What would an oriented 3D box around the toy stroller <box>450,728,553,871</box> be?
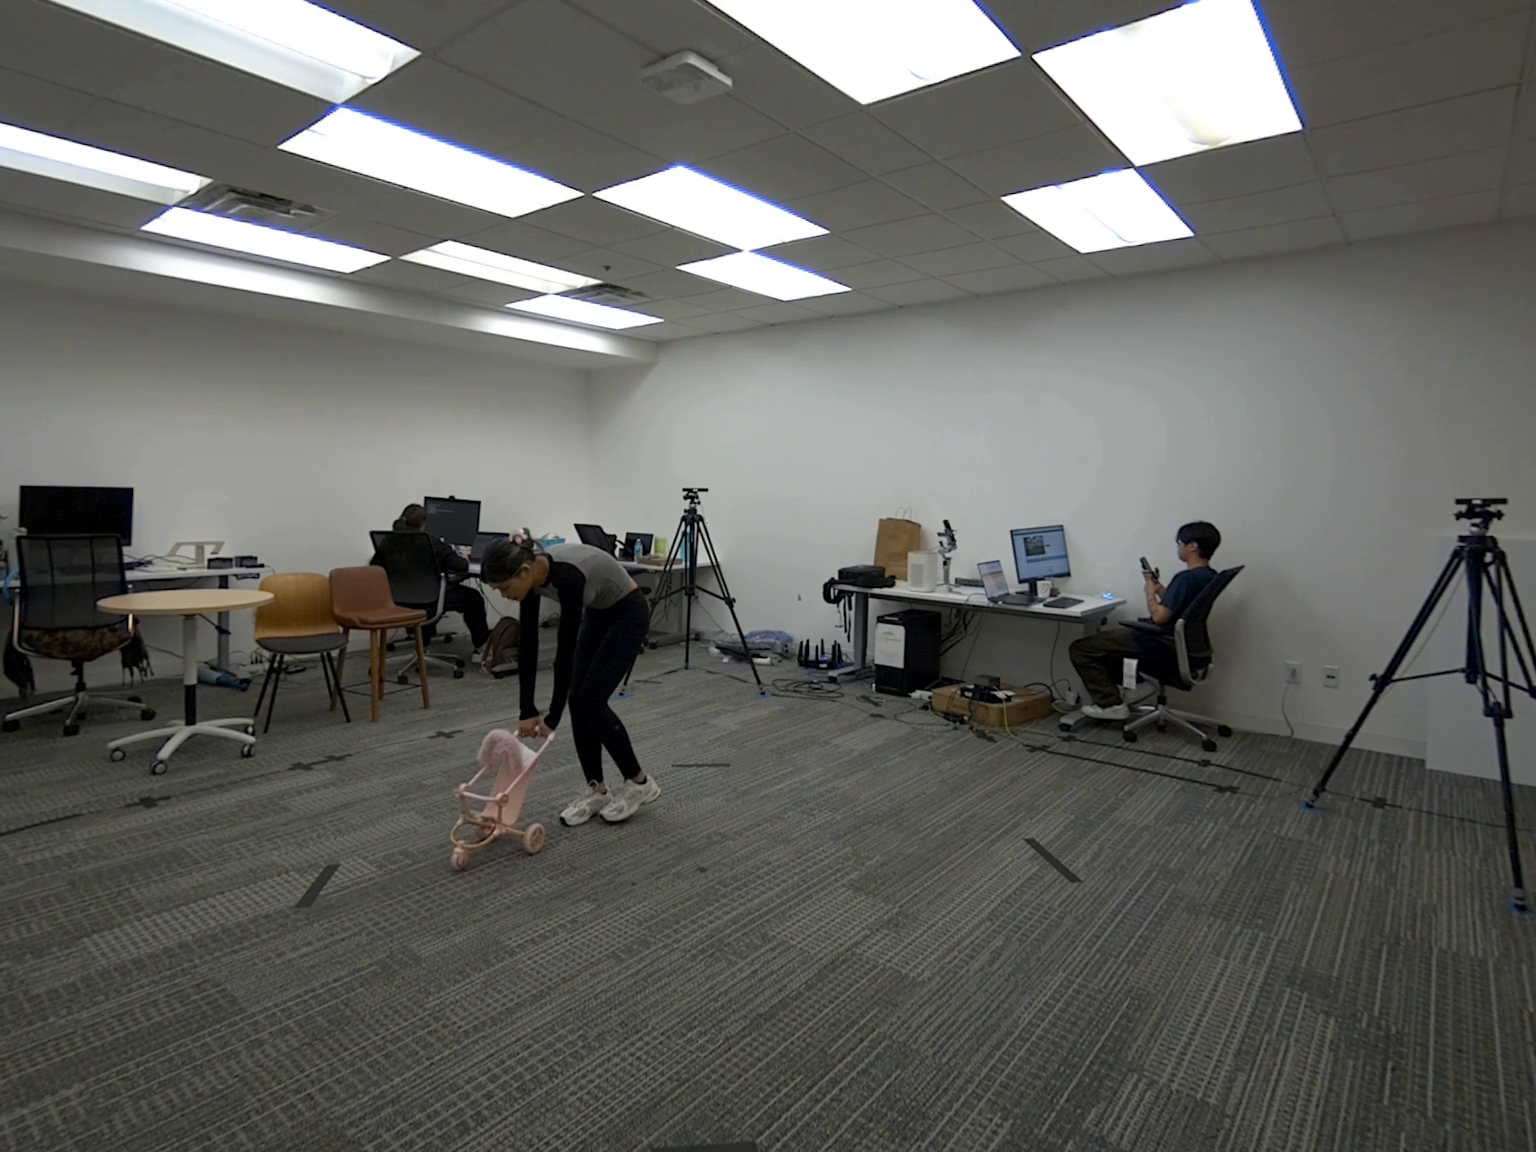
[{"bbox_3d":[-1.038,0.821,3.221,0.290,0.539,0.328,2,-12,34],"label":"toy stroller"}]
